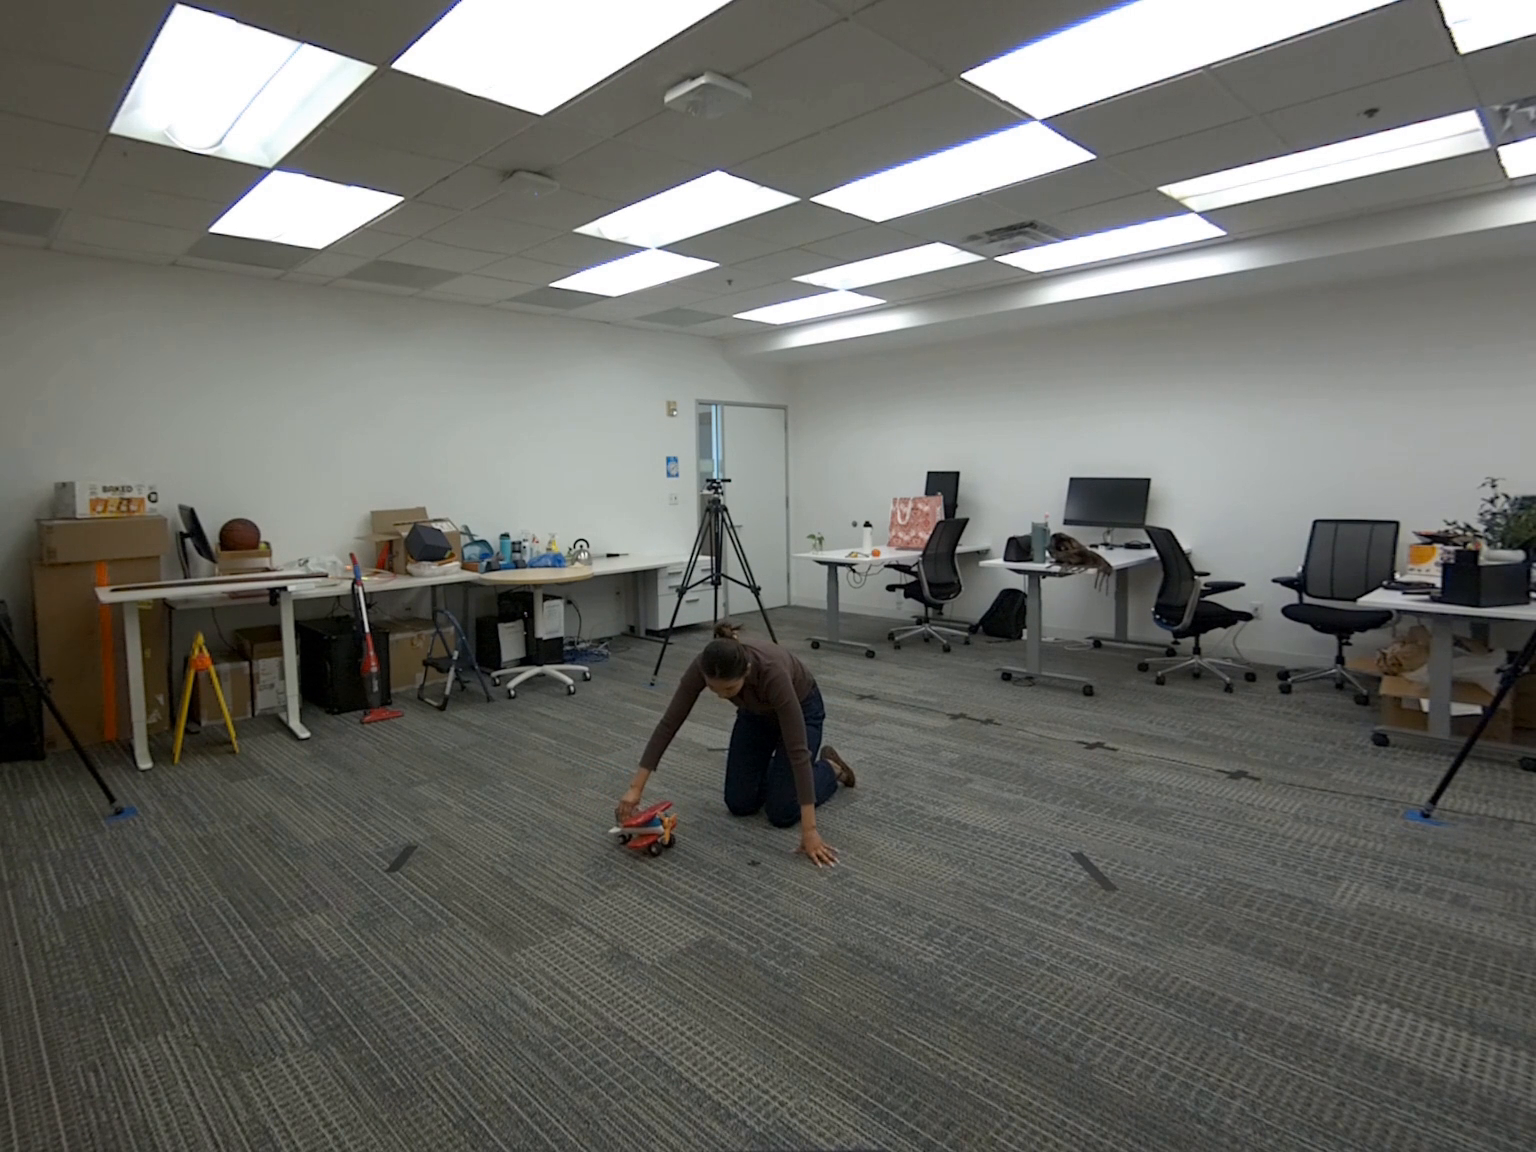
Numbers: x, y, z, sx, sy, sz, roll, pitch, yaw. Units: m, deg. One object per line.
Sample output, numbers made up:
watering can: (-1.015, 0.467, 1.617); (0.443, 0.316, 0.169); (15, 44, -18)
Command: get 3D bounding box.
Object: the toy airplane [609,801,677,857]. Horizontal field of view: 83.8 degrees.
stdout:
toy airplane: (-0.485, 0.966, 3.241); (0.260, 0.156, 0.251); (-2, 5, 2)
